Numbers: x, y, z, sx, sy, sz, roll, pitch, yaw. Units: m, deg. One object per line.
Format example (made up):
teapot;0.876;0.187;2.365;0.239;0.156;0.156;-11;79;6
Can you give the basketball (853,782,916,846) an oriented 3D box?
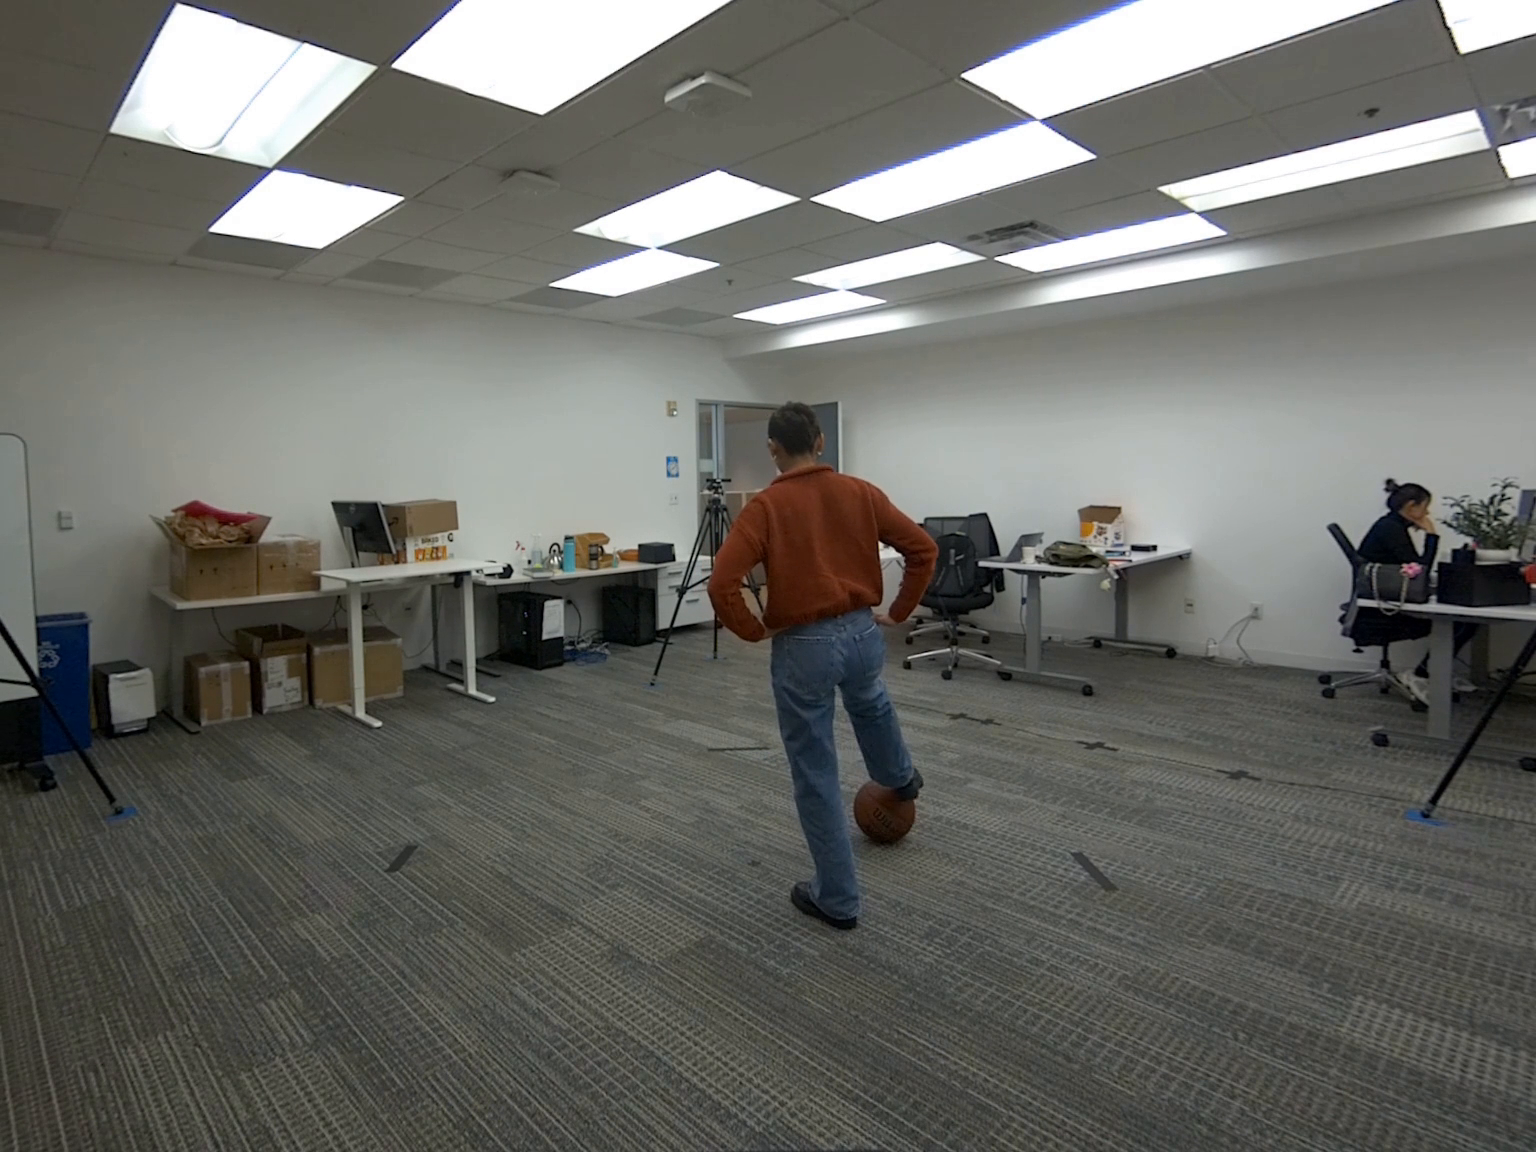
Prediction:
basketball;0.440;0.898;3.294;0.236;0.235;0.237;-1;5;-2
